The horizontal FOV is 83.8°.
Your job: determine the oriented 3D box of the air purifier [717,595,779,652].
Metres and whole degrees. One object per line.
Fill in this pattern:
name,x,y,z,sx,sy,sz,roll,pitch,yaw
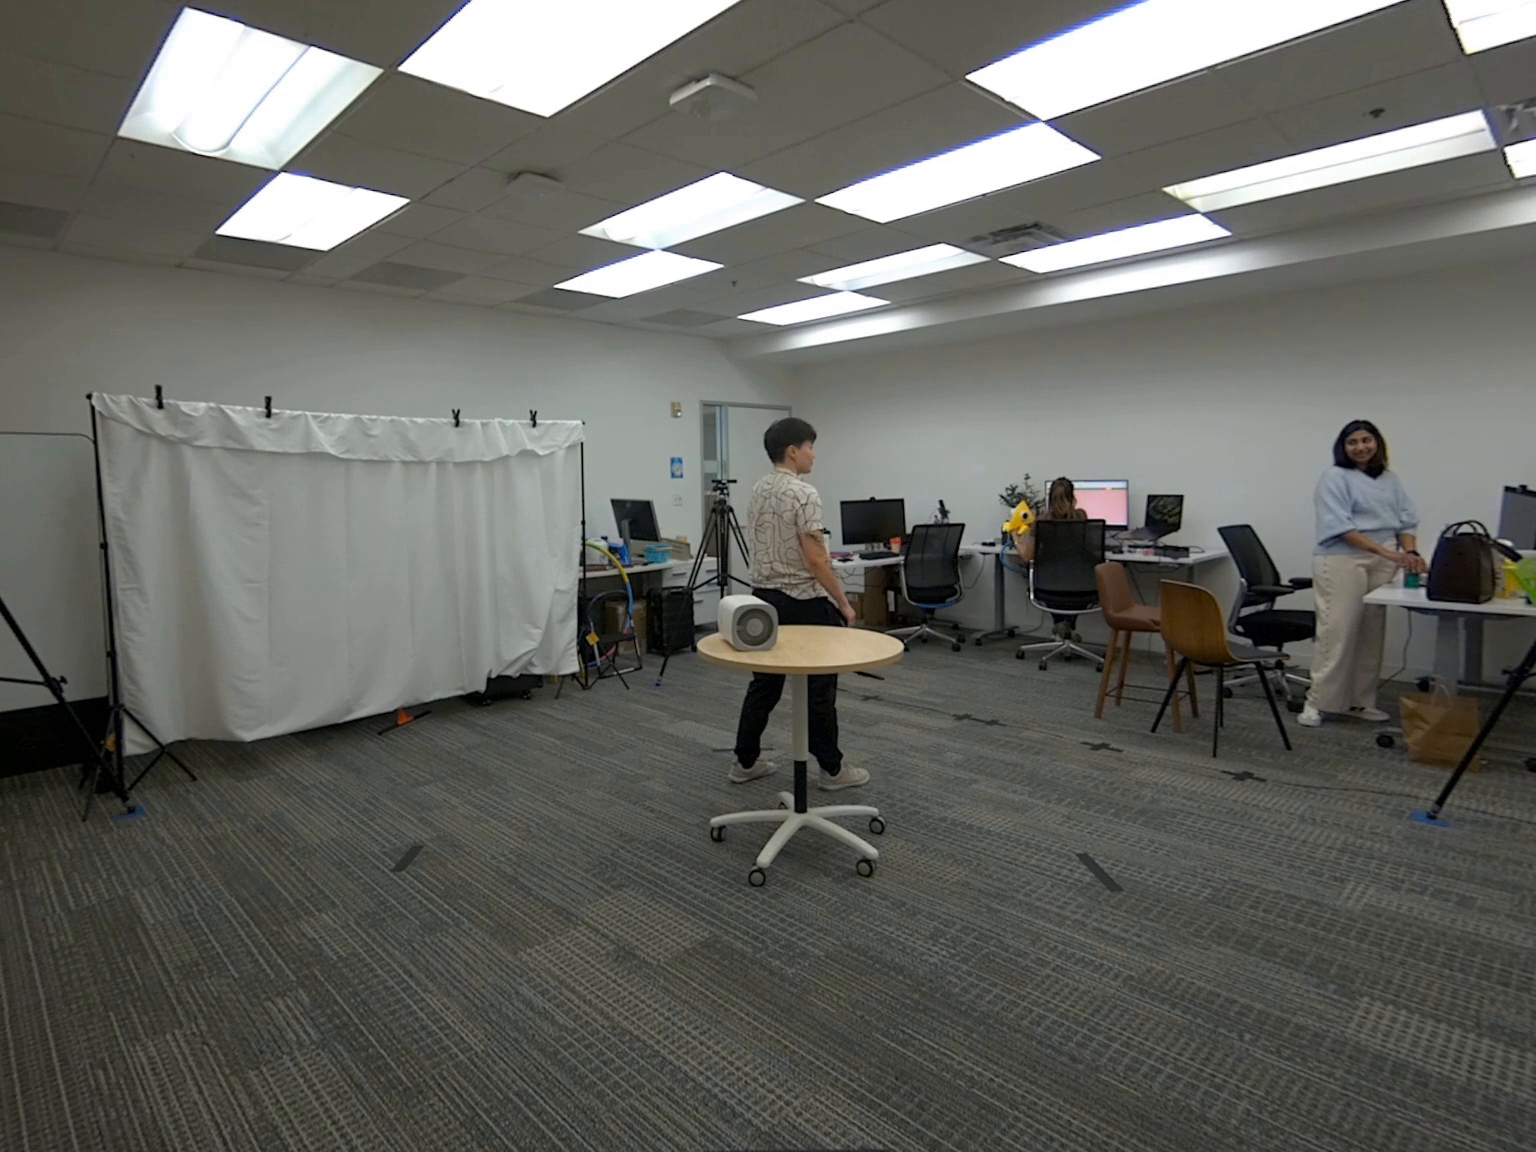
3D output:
air purifier,-0.081,0.168,3.181,0.169,0.170,0.270,-2,6,-15
